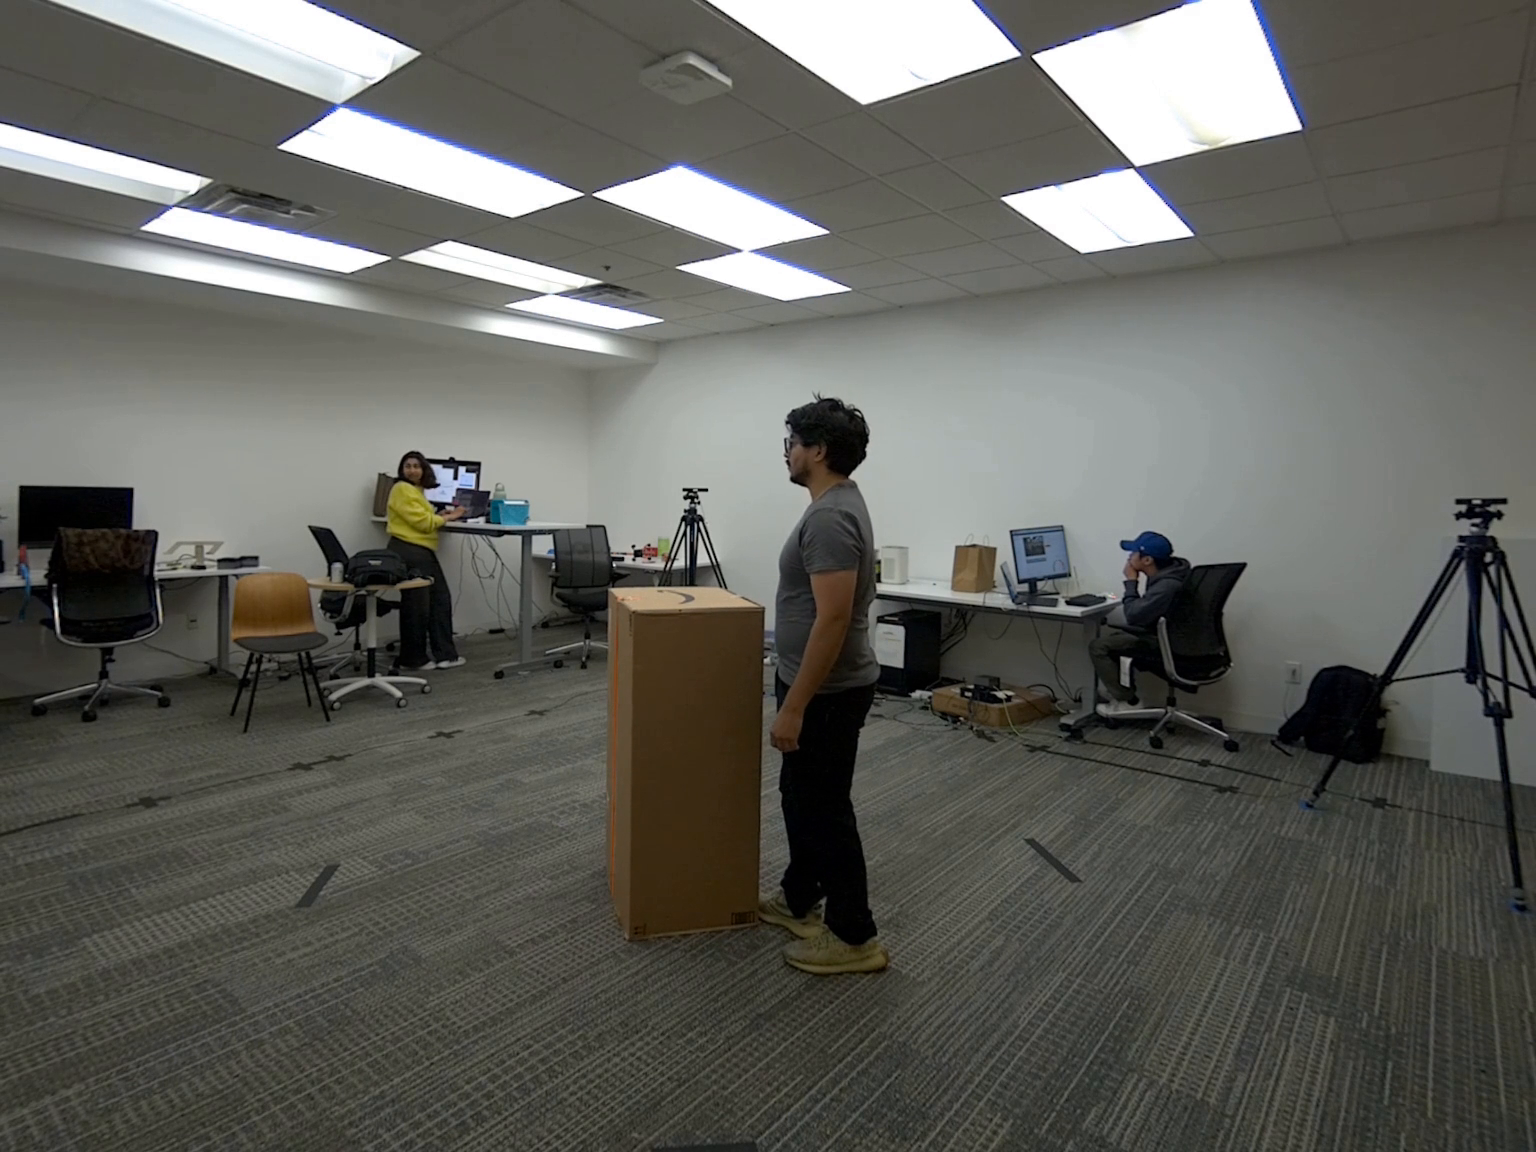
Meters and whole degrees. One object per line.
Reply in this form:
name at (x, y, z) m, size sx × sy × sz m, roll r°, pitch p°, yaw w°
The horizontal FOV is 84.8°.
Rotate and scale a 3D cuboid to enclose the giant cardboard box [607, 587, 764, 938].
giant cardboard box at (-0.317, 0.578, 2.899) m, size 0.439 × 1.024 × 0.596 m, roll 0°, pitch 3°, yaw -17°
